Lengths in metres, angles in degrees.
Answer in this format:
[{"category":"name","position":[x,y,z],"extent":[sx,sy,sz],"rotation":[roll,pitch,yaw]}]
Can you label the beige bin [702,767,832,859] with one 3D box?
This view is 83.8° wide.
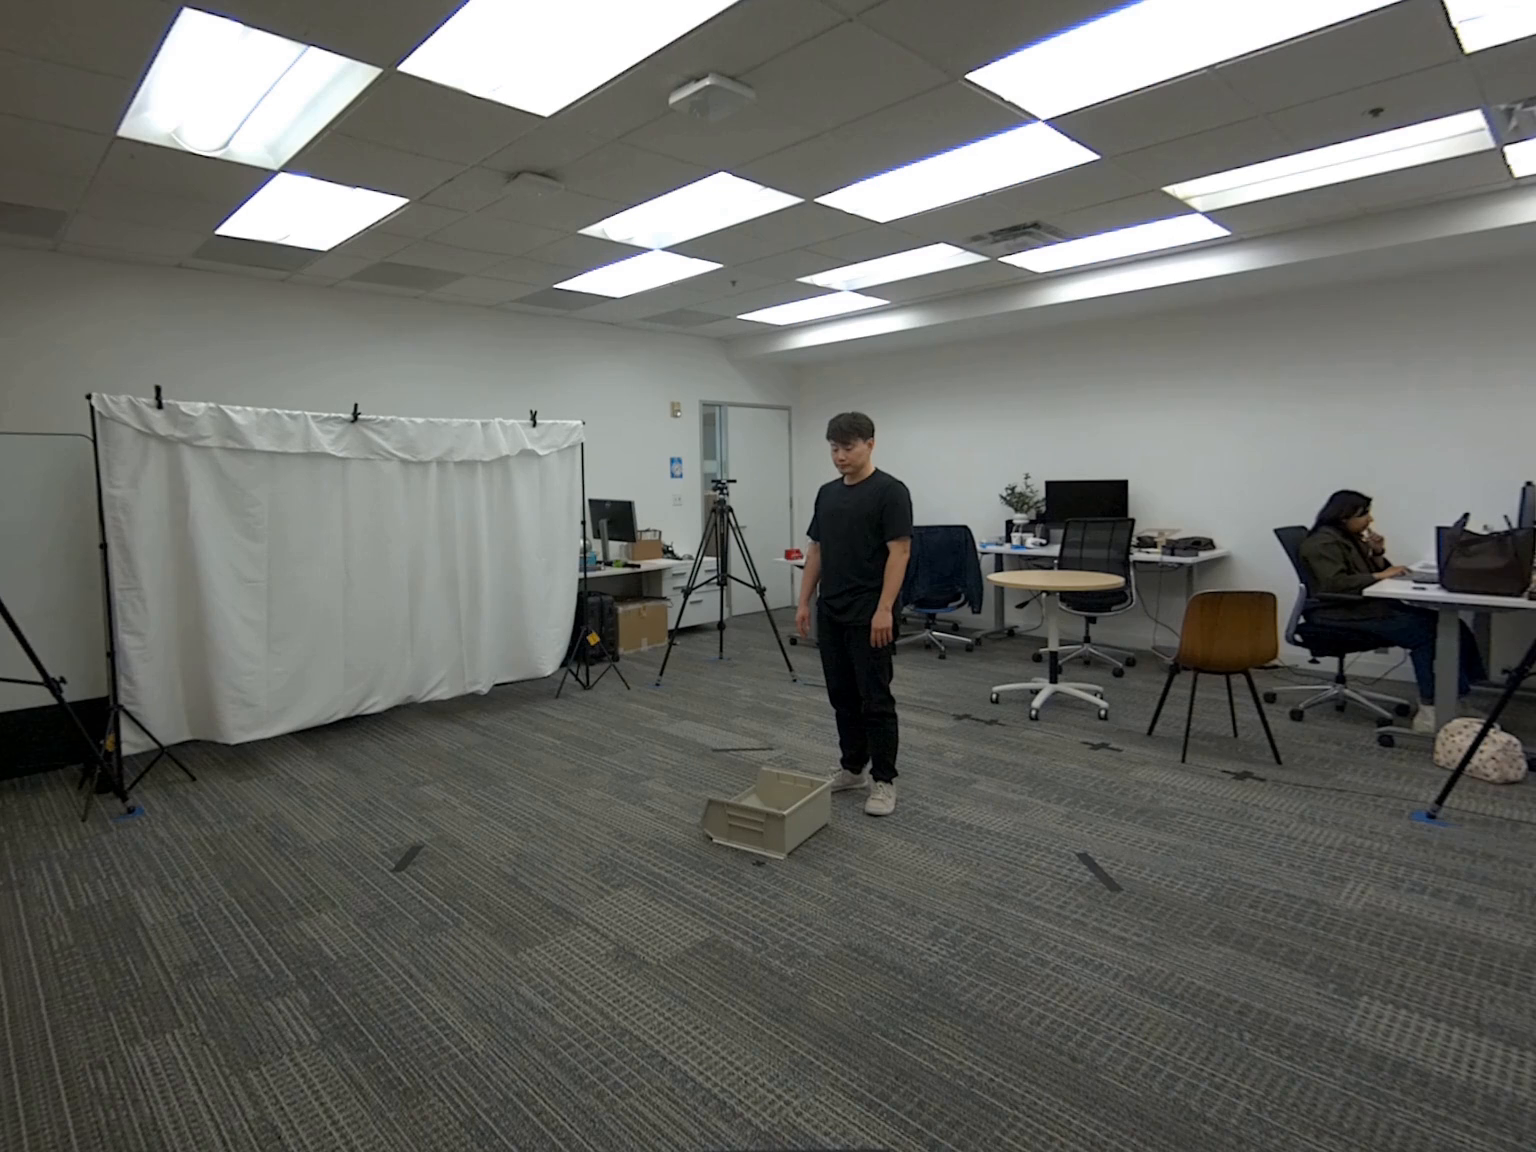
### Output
[{"category":"beige bin","position":[0.005,0.925,3.392],"extent":[0.388,0.188,0.413],"rotation":[4,7,31]}]
